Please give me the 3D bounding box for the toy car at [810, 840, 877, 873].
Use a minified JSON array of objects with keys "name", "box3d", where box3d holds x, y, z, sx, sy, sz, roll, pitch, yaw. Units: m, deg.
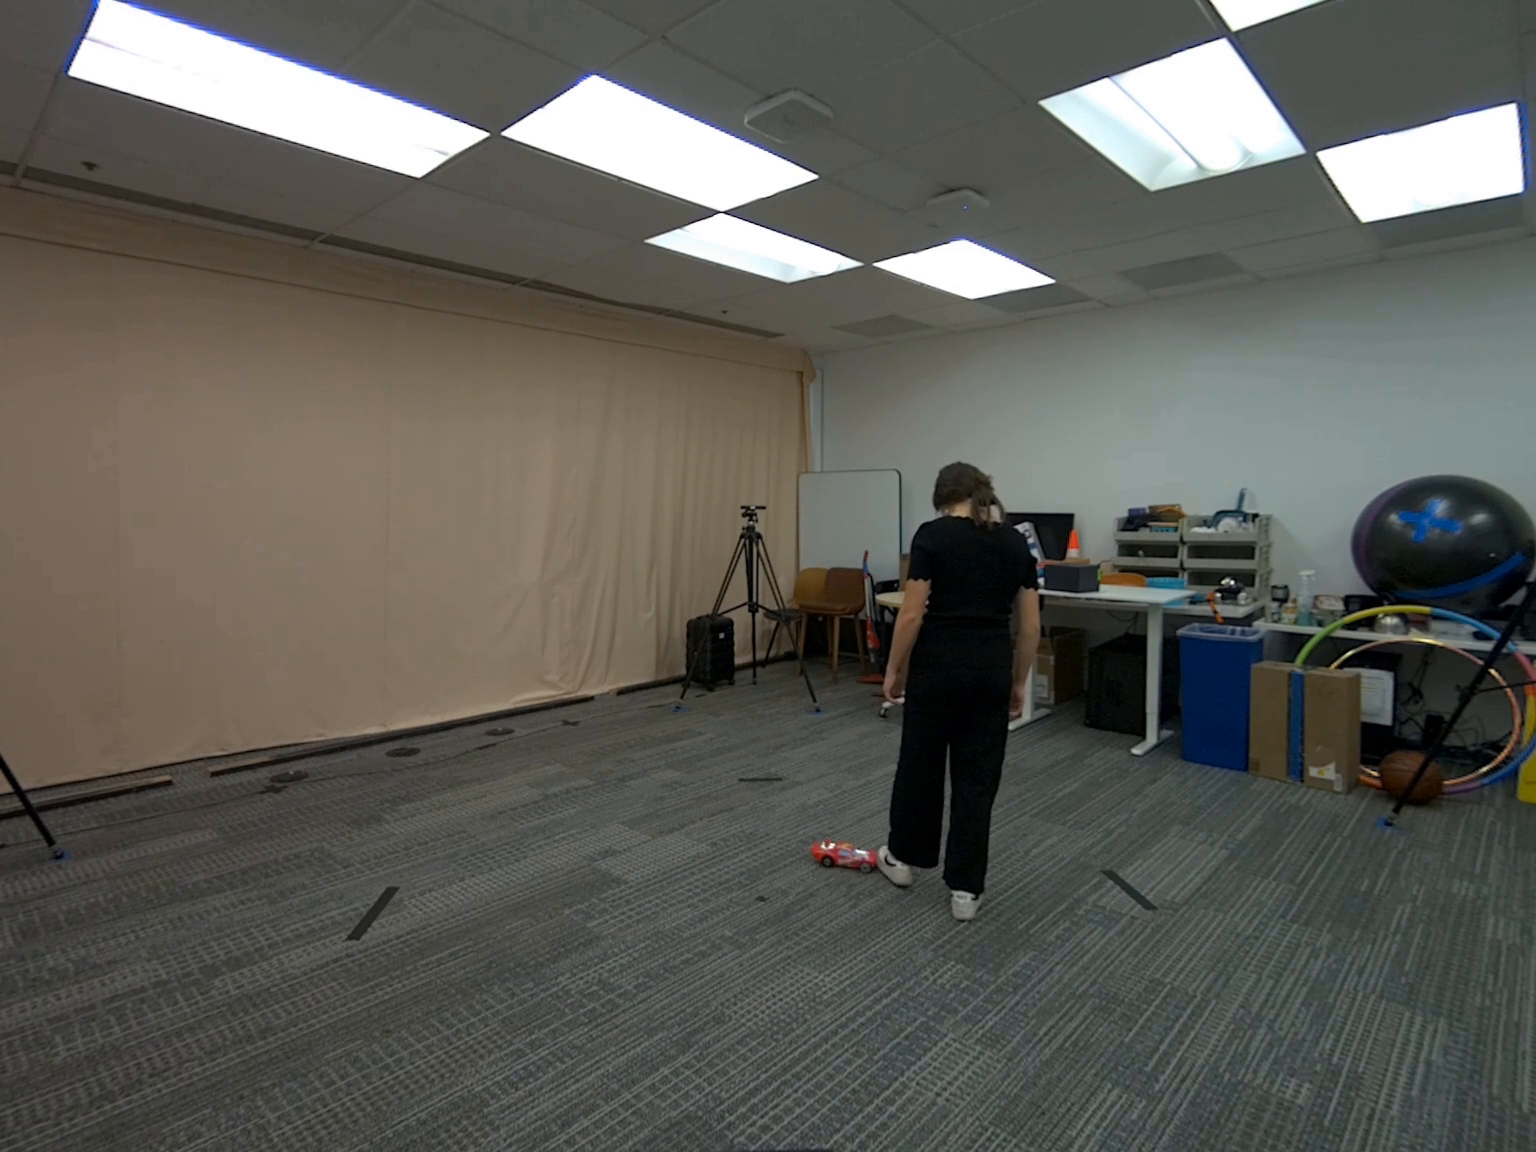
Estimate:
[{"name":"toy car","box3d":[0.294,1.085,3.266,0.260,0.083,0.128,13,7,17]}]
